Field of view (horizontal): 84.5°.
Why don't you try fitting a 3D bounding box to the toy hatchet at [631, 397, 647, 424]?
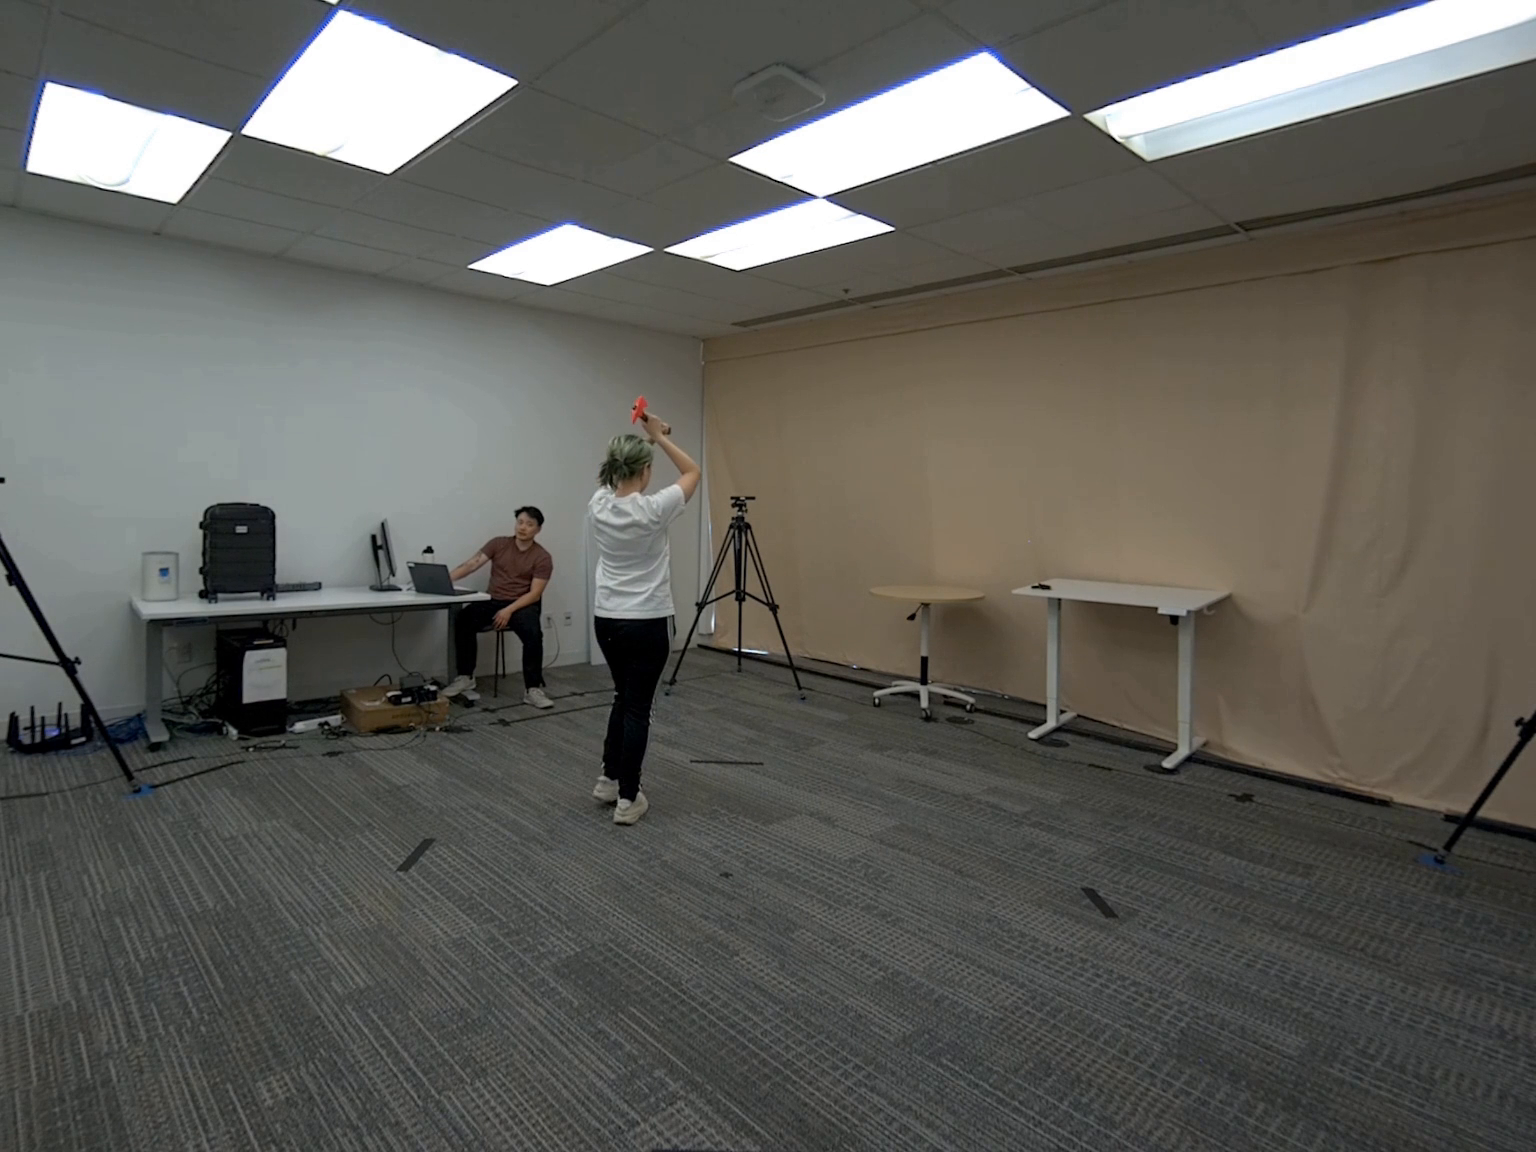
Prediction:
[{"bbox_3d":[-0.523,-0.710,3.692,0.030,0.131,0.264,0,-2,28],"label":"toy hatchet"}]
